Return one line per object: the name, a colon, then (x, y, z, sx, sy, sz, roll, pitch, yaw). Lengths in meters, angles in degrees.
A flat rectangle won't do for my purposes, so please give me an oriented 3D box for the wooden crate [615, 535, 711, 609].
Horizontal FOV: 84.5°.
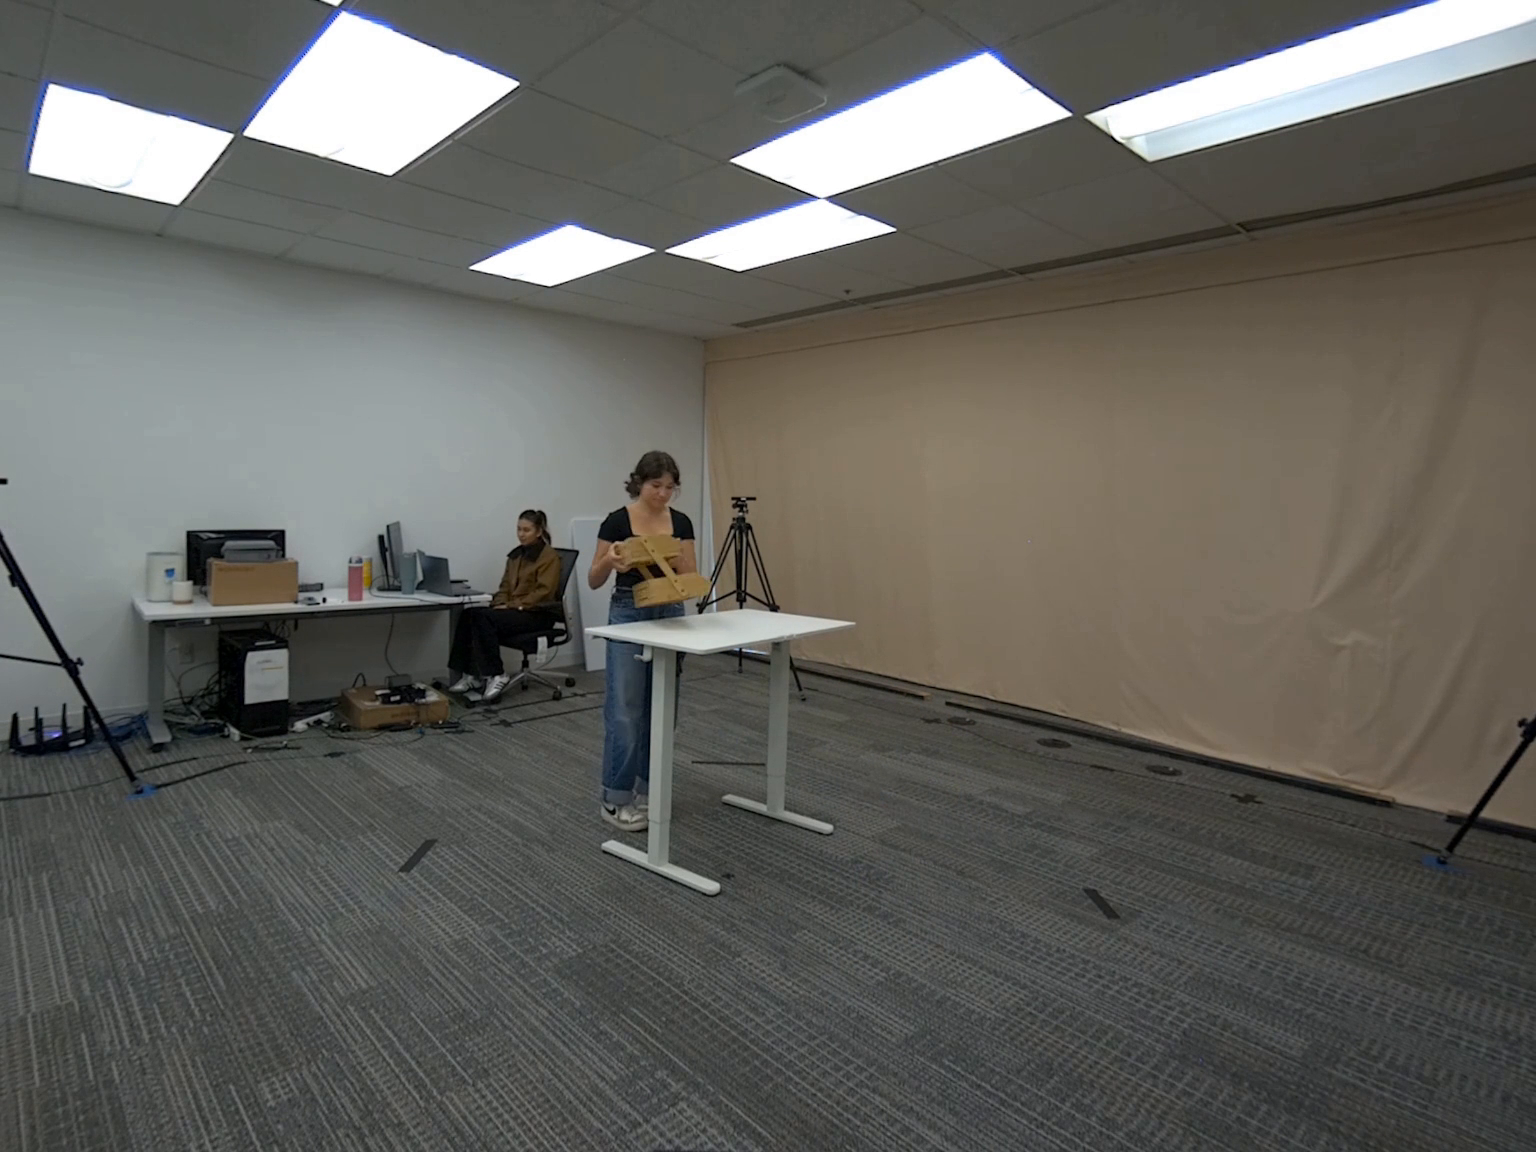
wooden crate: (-0.435, -0.025, 3.380, 0.298, 0.274, 0.327, -9, -4, -21)
